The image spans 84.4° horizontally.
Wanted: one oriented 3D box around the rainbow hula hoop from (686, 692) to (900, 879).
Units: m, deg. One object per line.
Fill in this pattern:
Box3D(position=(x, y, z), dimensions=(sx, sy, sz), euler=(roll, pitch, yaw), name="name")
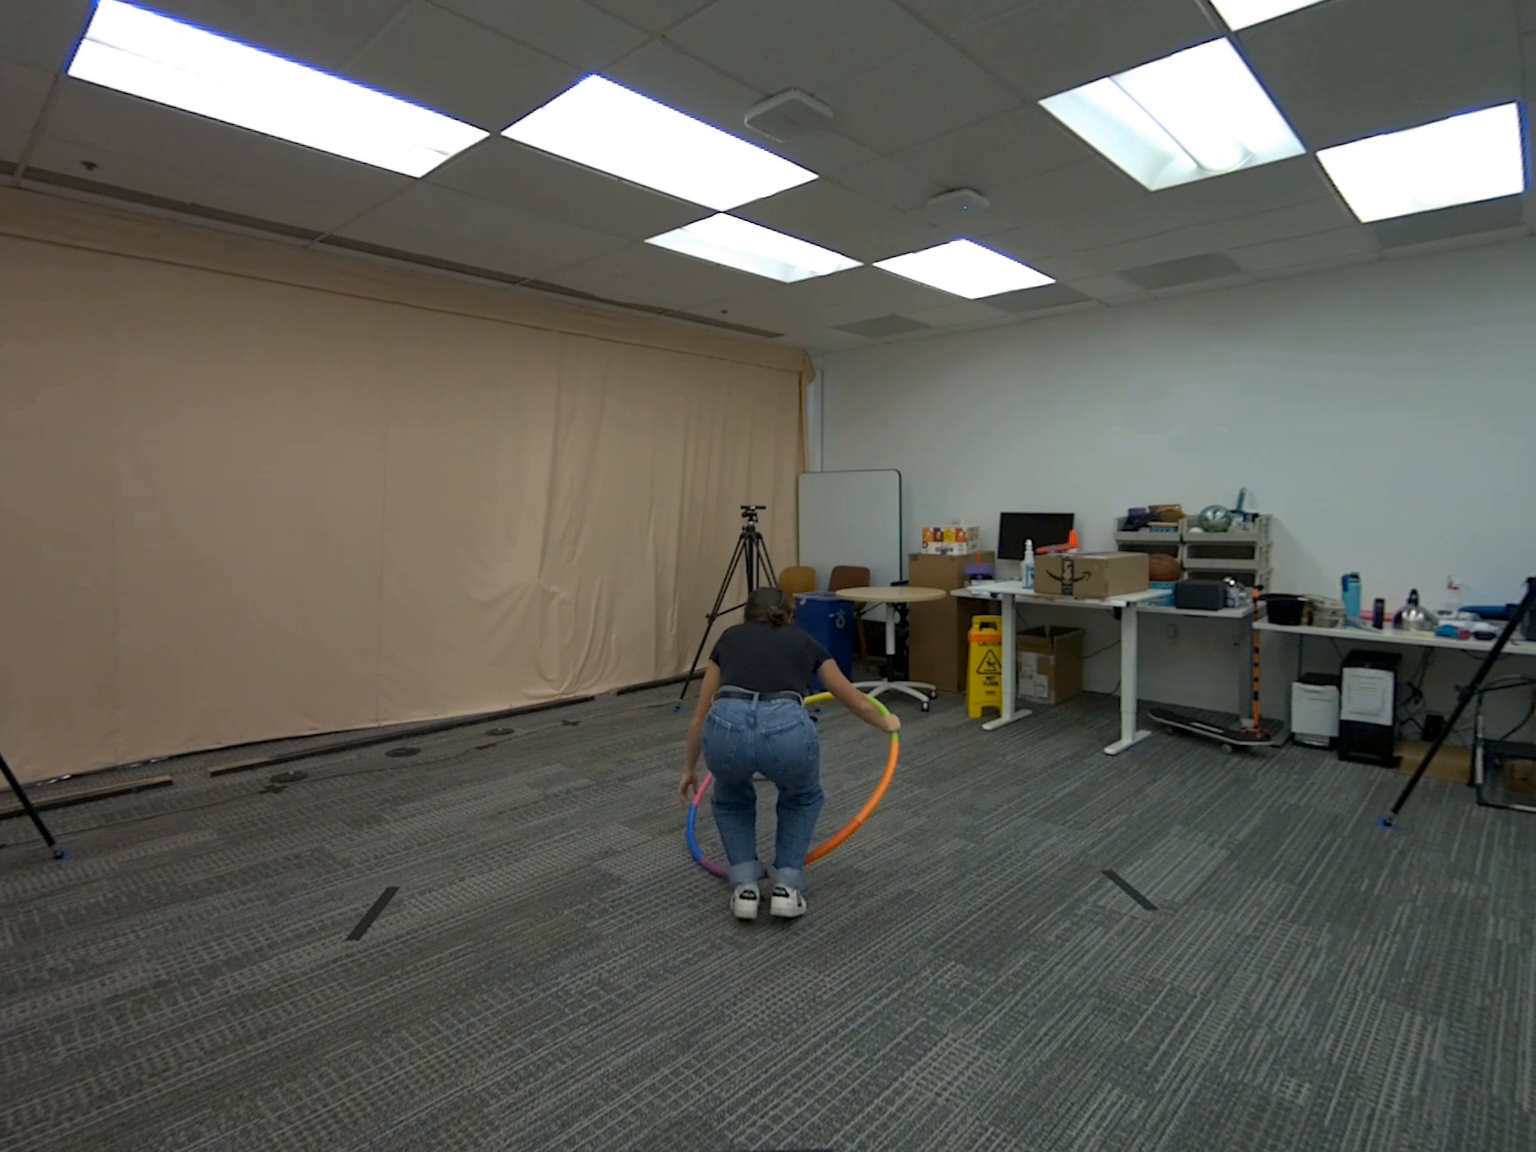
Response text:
Box3D(position=(0.094, 0.805, 3.416), dimensions=(0.985, 0.035, 0.993), euler=(-30, 22, 10), name="rainbow hula hoop")
